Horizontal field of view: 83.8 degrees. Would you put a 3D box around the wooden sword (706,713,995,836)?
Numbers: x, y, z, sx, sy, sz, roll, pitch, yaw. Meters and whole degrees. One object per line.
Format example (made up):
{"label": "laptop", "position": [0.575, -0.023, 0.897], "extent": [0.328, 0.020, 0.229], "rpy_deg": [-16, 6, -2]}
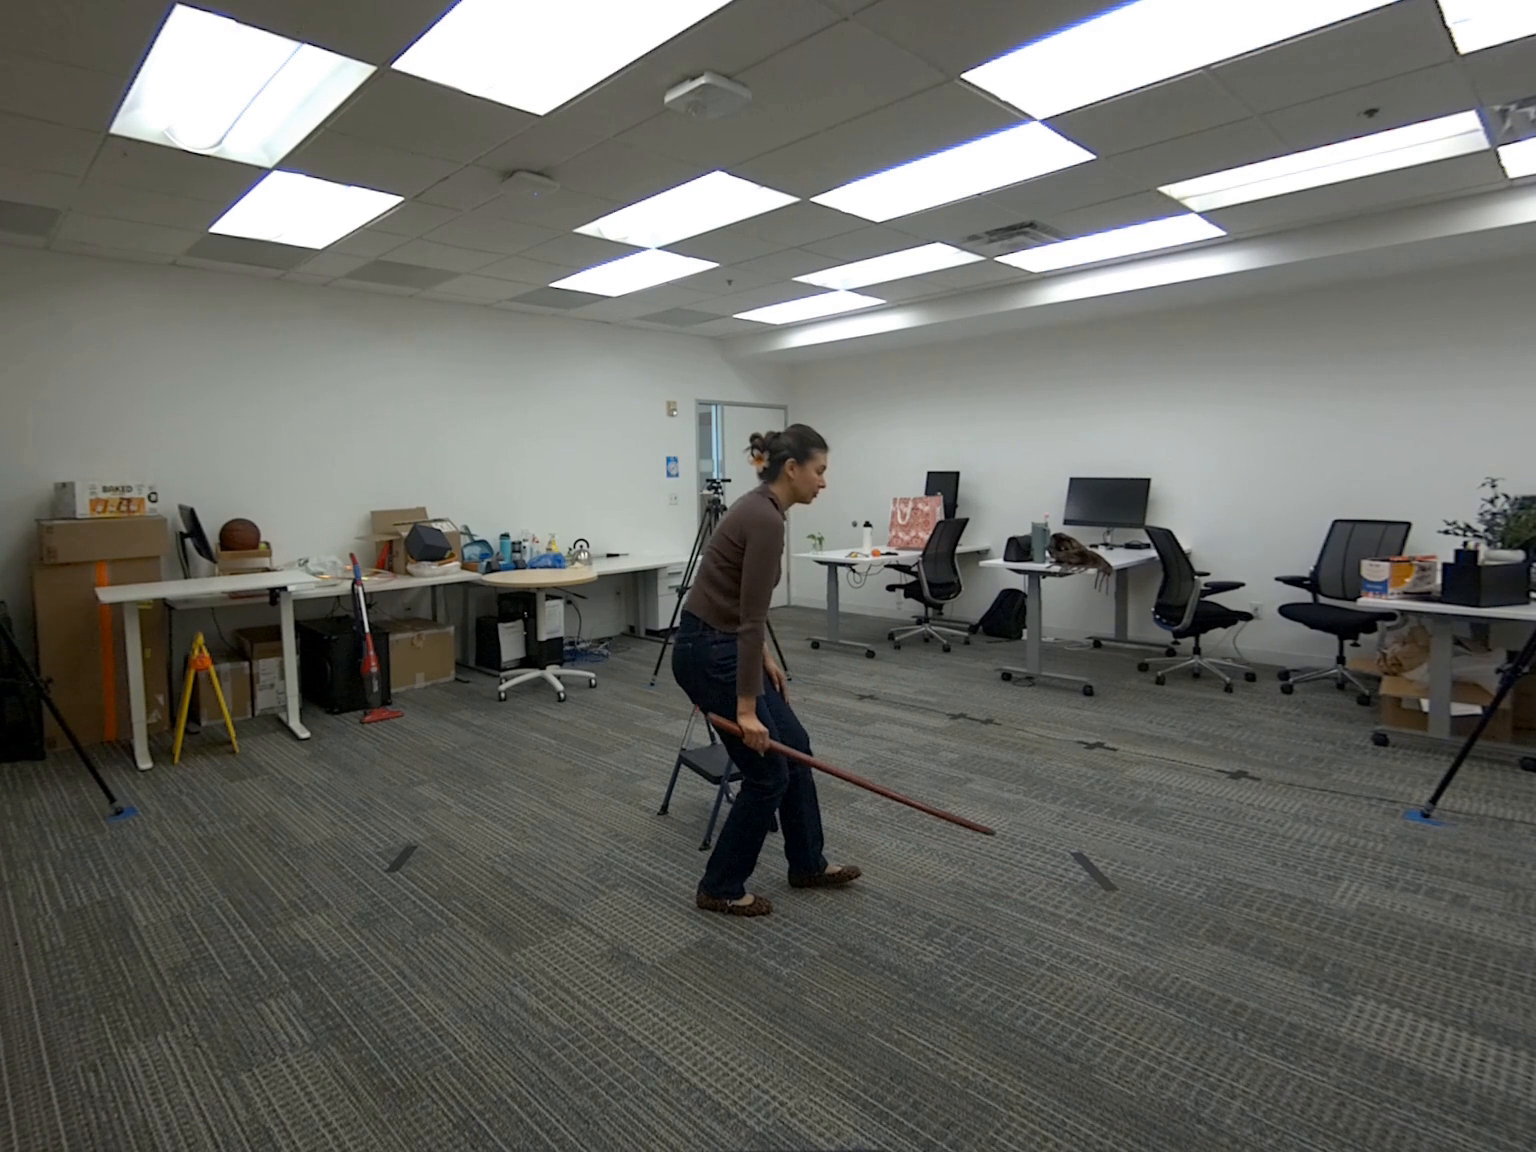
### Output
{"label": "wooden sword", "position": [0.281, 0.617, 2.604], "extent": [1.008, 0.024, 0.052], "rpy_deg": [24, 39, -12]}
